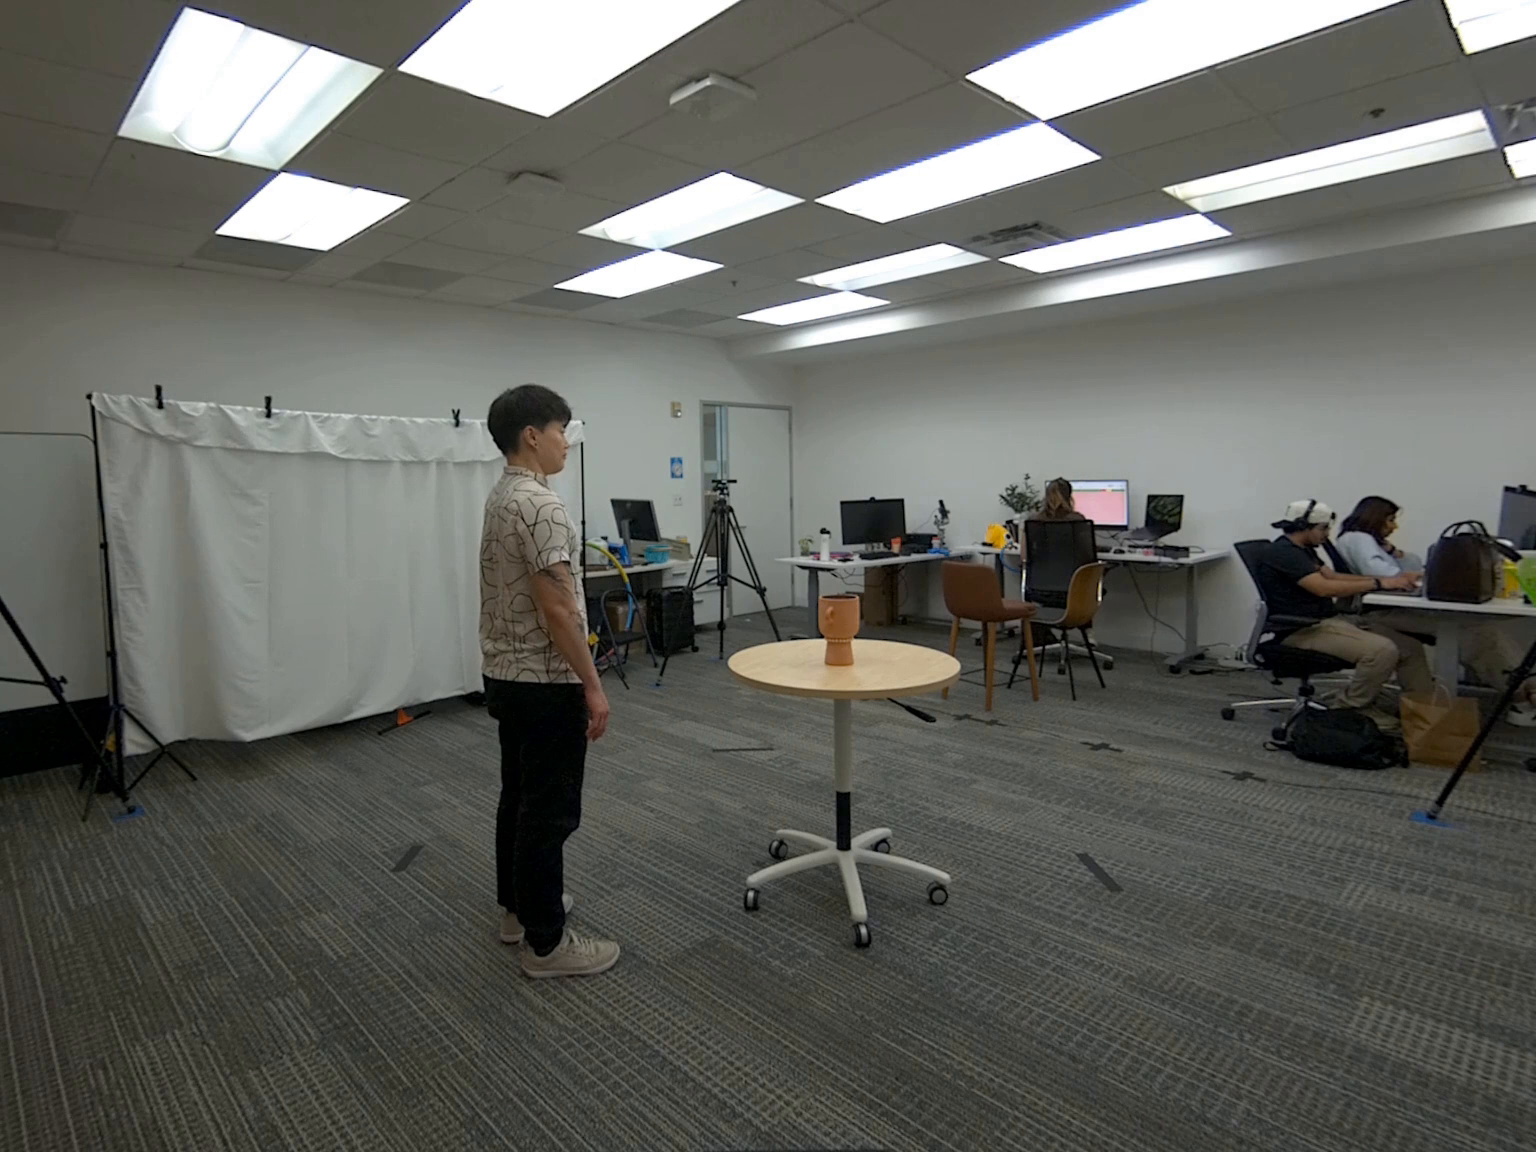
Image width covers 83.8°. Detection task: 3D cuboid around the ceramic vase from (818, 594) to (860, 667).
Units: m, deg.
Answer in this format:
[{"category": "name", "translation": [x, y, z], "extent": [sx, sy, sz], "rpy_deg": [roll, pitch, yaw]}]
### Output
[{"category": "ceramic vase", "translation": [0.243, 0.182, 2.827], "extent": [0.156, 0.219, 0.138], "rpy_deg": [-3, 6, -22]}]
